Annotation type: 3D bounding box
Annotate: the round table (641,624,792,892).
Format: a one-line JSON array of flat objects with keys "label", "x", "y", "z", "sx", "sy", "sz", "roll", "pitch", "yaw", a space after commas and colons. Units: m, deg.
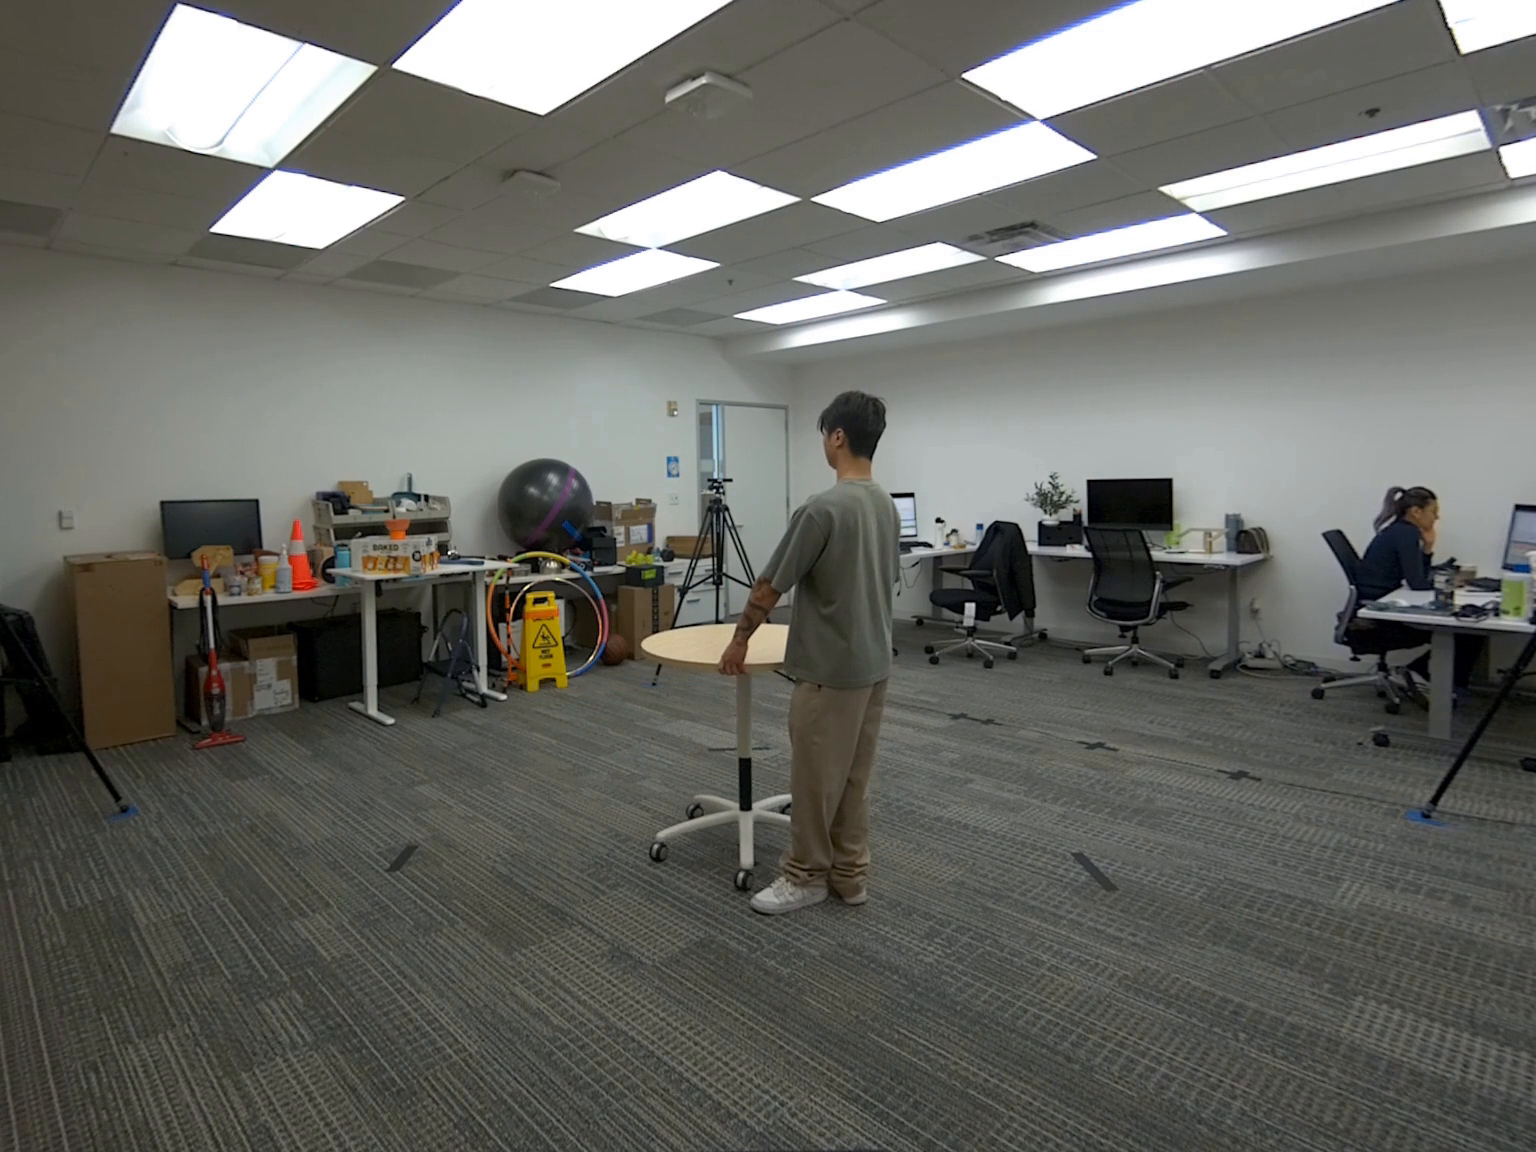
[{"label": "round table", "x": -0.096, "y": 0.634, "z": 3.251, "sx": 0.784, "sy": 0.783, "sz": 0.789, "roll": -1, "pitch": 5, "yaw": -2}]
